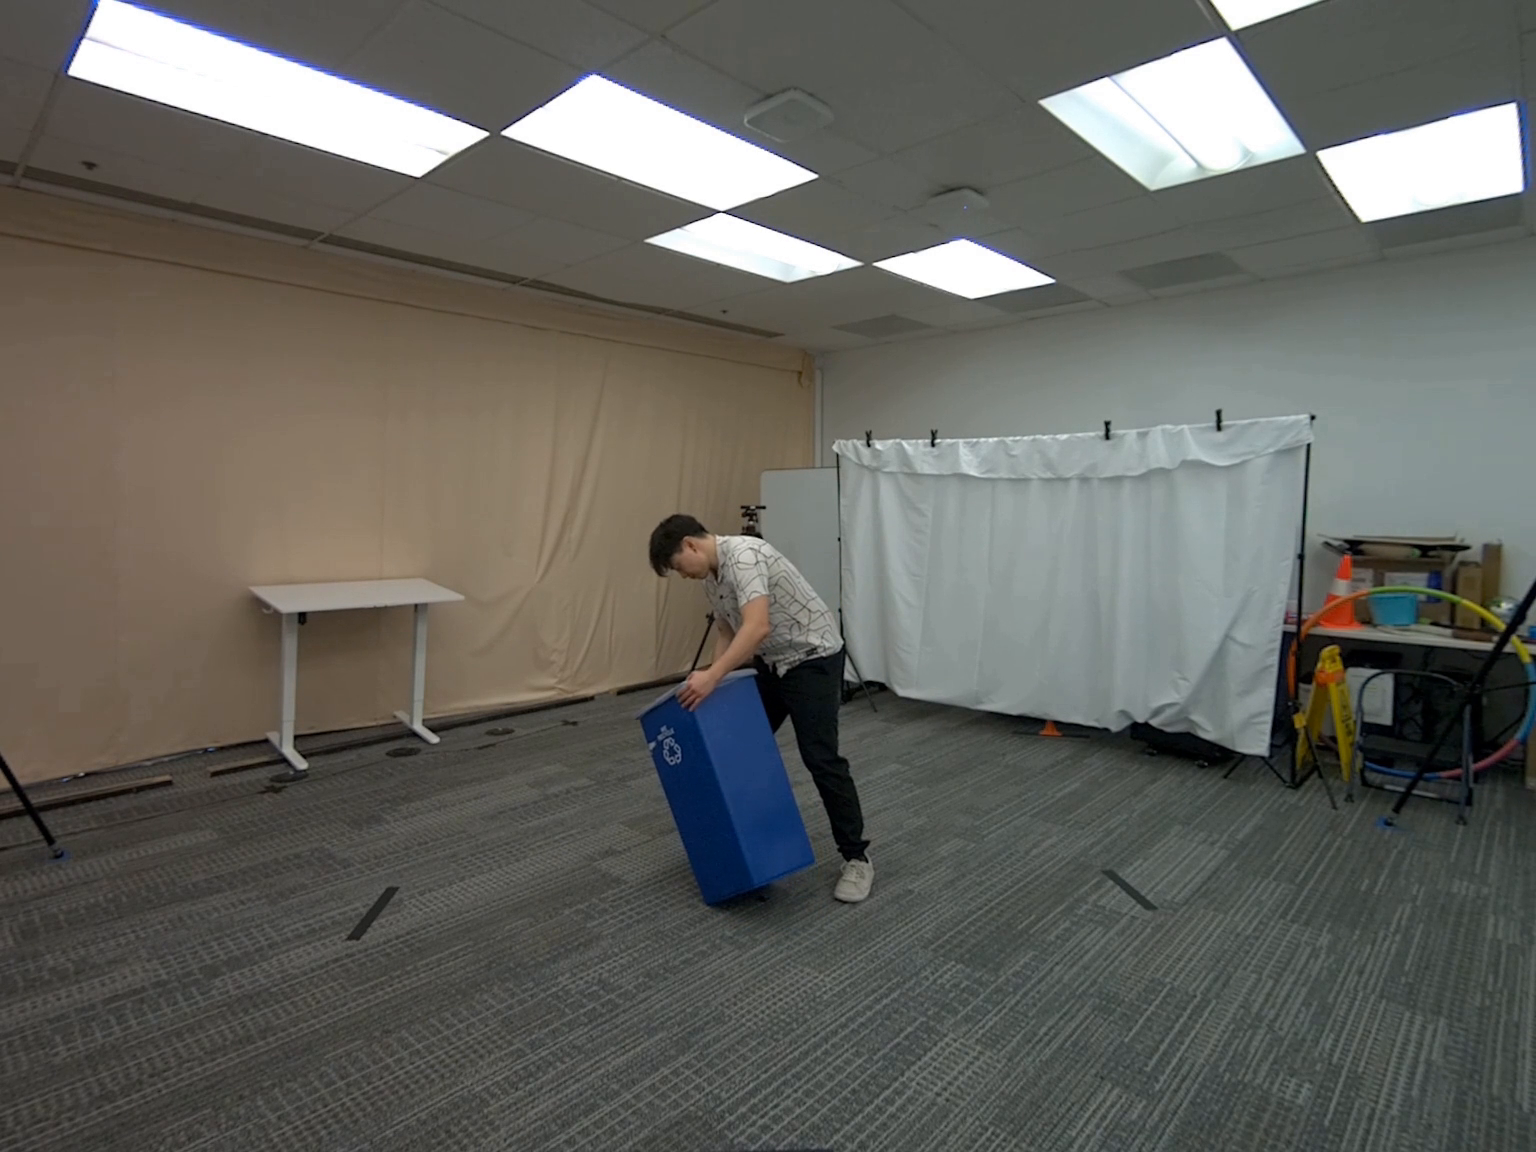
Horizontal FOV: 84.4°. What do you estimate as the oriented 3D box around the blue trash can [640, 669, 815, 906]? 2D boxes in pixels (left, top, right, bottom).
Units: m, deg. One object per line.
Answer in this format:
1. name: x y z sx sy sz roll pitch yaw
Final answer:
1. blue trash can: -0.148 0.753 3.048 0.362 0.726 0.383 -2 -26 -44
